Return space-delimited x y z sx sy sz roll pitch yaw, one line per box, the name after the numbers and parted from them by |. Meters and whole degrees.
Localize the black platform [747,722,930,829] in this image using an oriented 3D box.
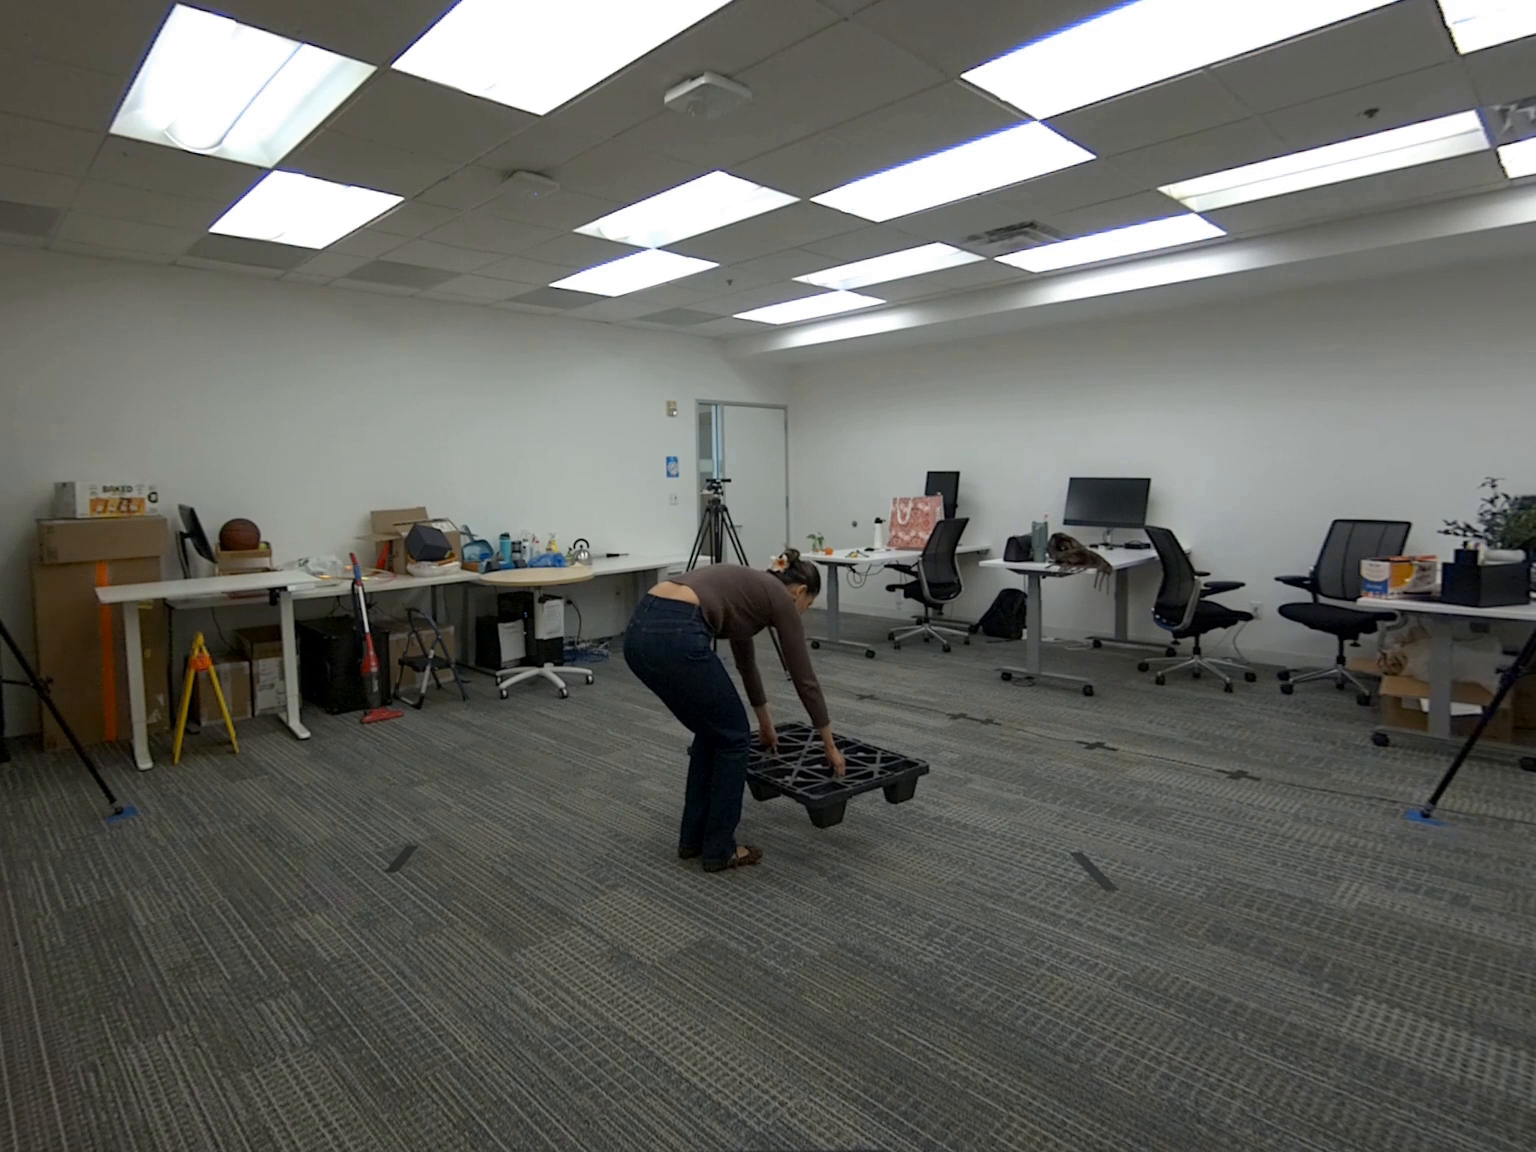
0.144 0.778 3.394 0.590 0.143 0.829 -6 7 -36 | black platform
